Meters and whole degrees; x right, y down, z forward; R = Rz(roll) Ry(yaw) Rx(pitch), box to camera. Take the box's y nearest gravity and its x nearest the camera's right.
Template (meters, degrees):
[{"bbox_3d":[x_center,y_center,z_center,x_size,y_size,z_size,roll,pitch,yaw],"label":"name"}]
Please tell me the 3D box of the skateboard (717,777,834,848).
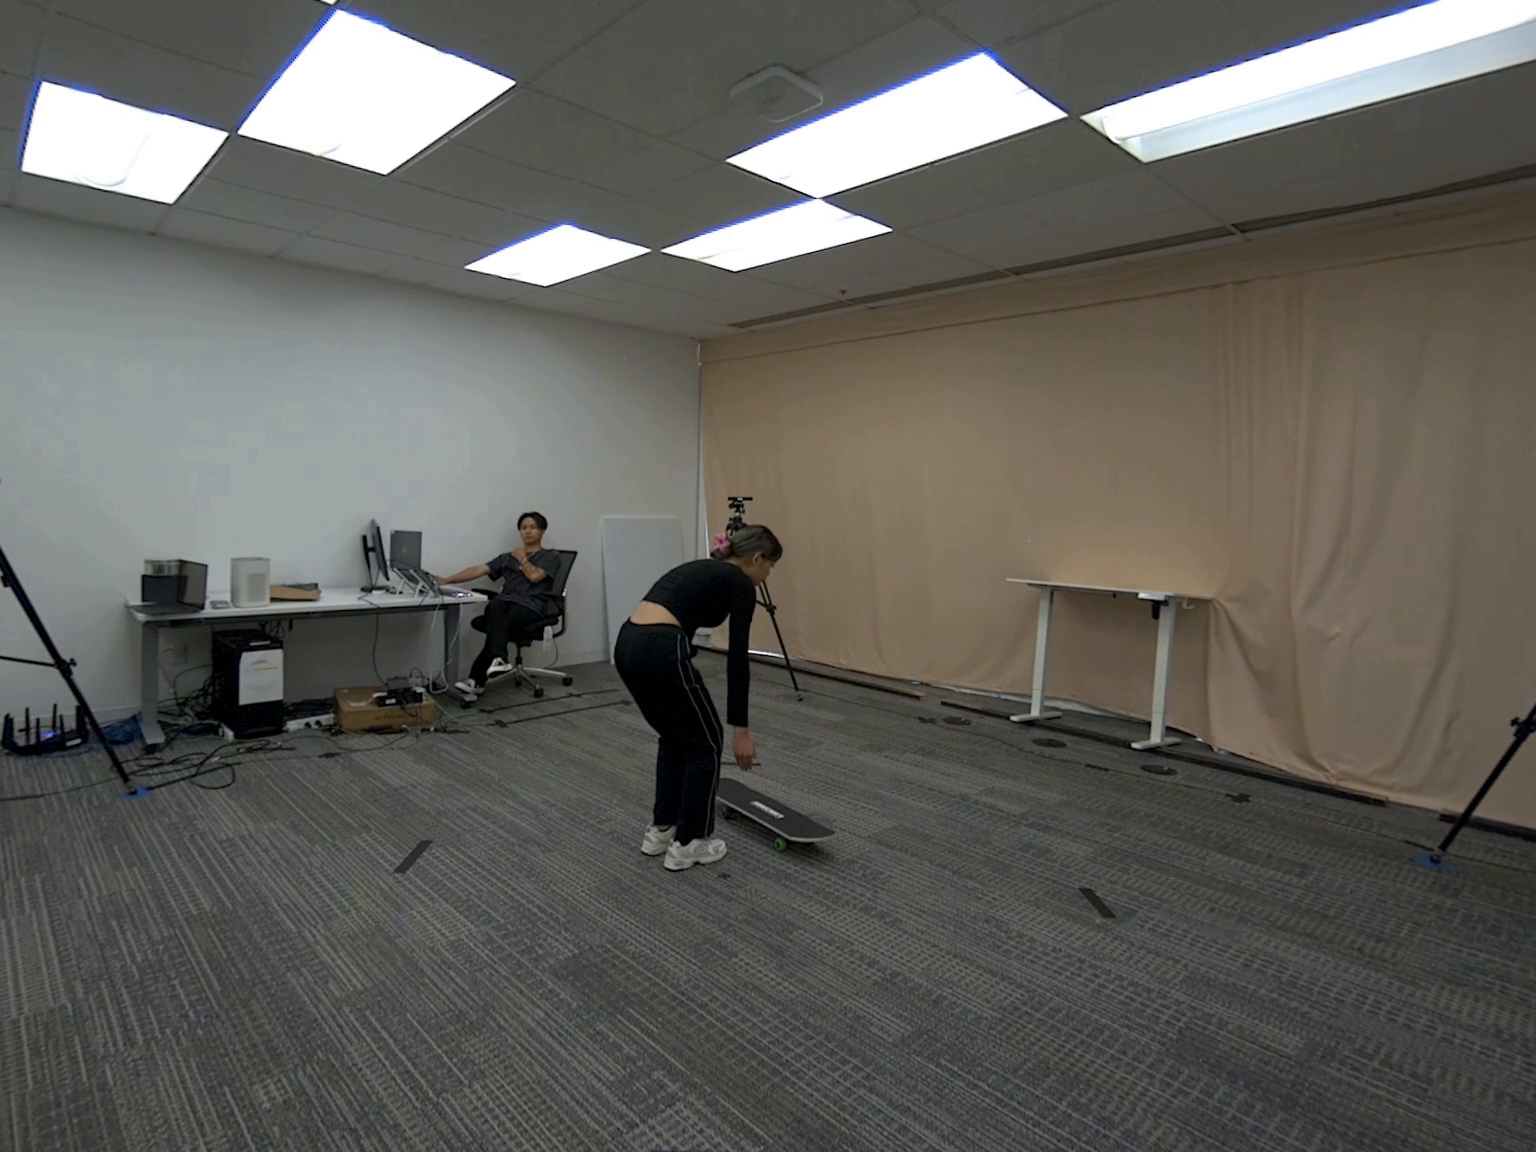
[{"bbox_3d":[-0.016,1.016,3.553,0.189,0.110,0.805,0,5,-35],"label":"skateboard"}]
